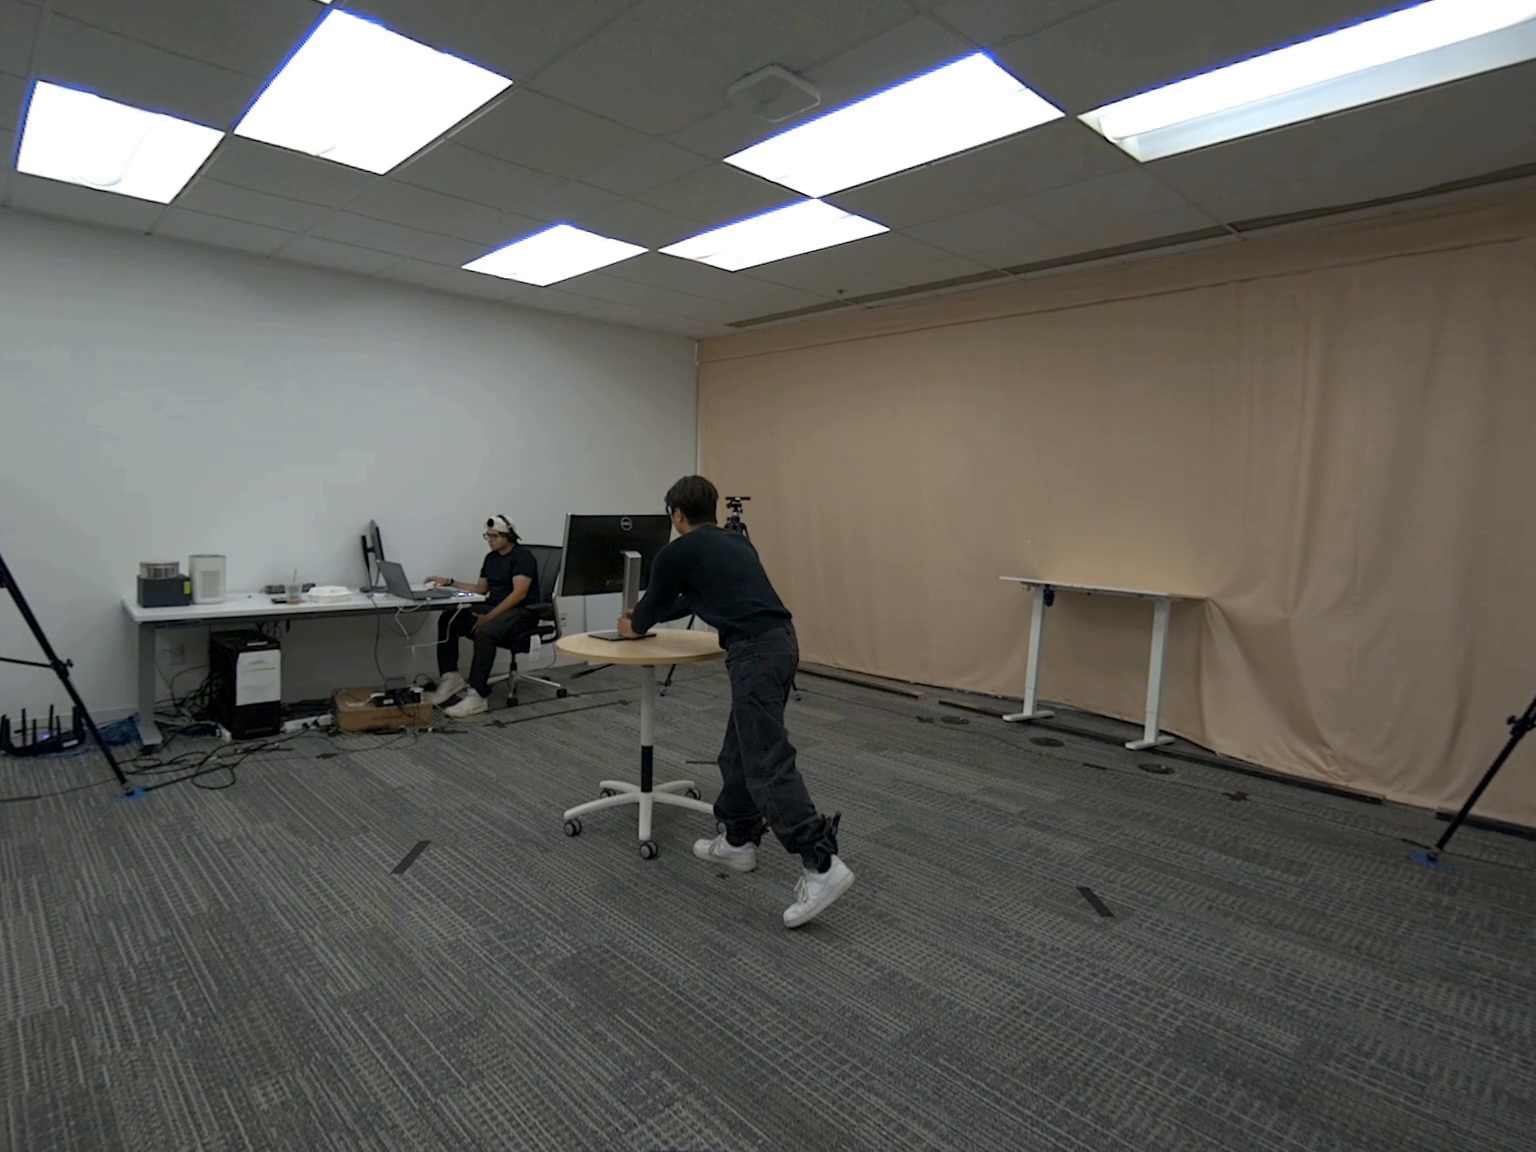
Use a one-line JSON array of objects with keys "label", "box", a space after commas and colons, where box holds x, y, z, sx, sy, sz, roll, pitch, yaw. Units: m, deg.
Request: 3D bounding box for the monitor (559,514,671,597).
[{"label": "monitor", "box": [-0.647, -0.004, 3.686, 0.192, 0.521, 0.527, 3, 4, 43]}]
